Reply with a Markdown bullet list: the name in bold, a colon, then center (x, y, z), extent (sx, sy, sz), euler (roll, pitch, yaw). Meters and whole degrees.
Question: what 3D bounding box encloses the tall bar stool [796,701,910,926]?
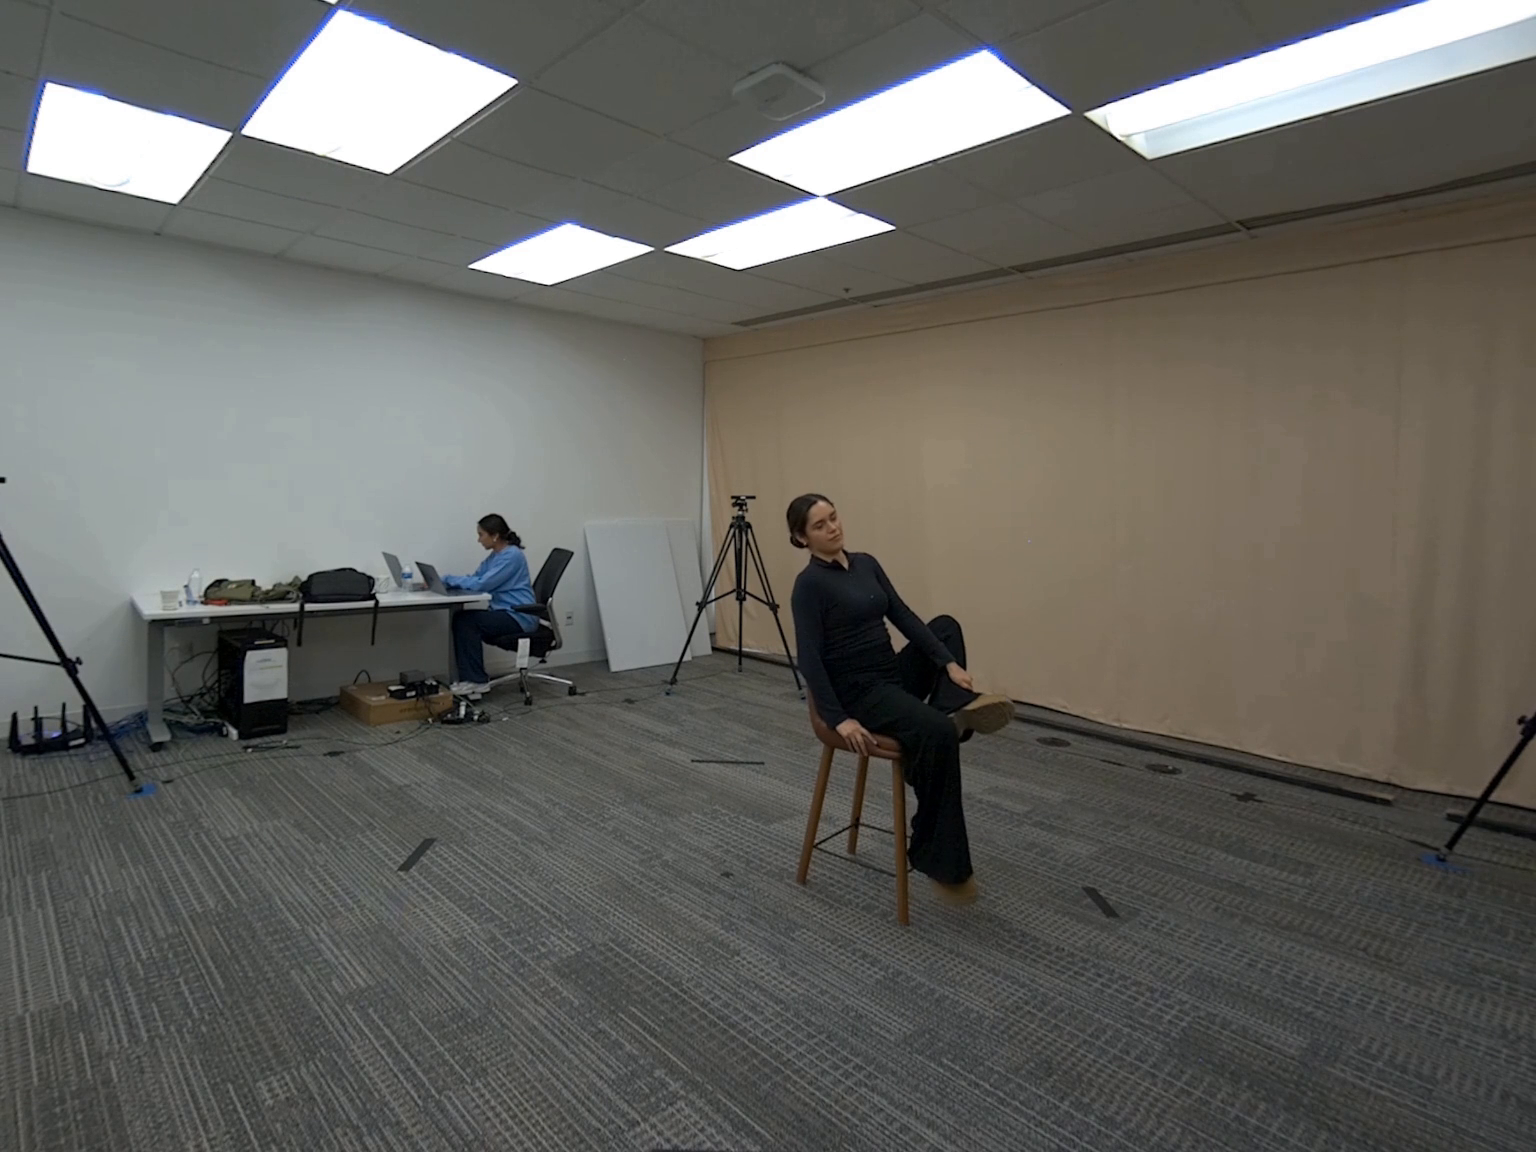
- **tall bar stool**: center (0.395, 0.691, 3.035), extent (0.479, 0.888, 0.446), euler (2, 3, 38)
